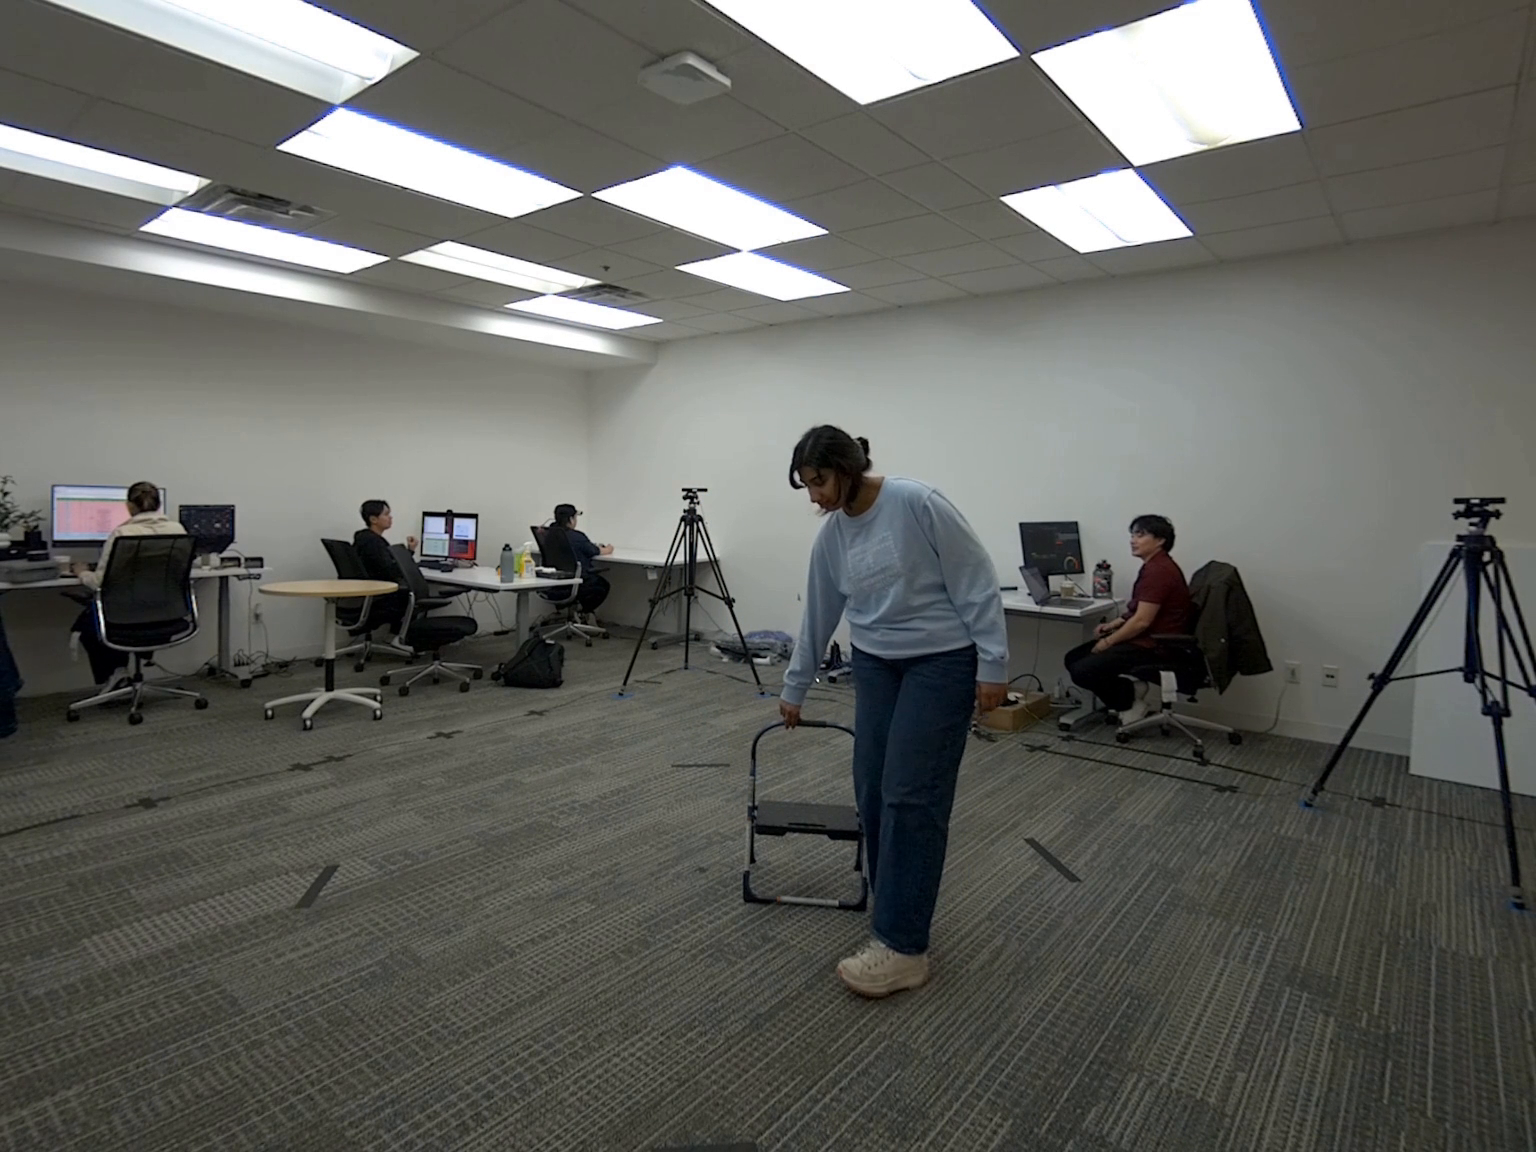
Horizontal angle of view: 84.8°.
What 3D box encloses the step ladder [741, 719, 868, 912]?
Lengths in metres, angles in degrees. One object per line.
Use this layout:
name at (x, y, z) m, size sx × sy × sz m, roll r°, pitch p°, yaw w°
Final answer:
step ladder at (0.129, 0.787, 2.992) m, size 0.433 × 0.604 × 0.348 m, roll 2°, pitch 3°, yaw 4°
